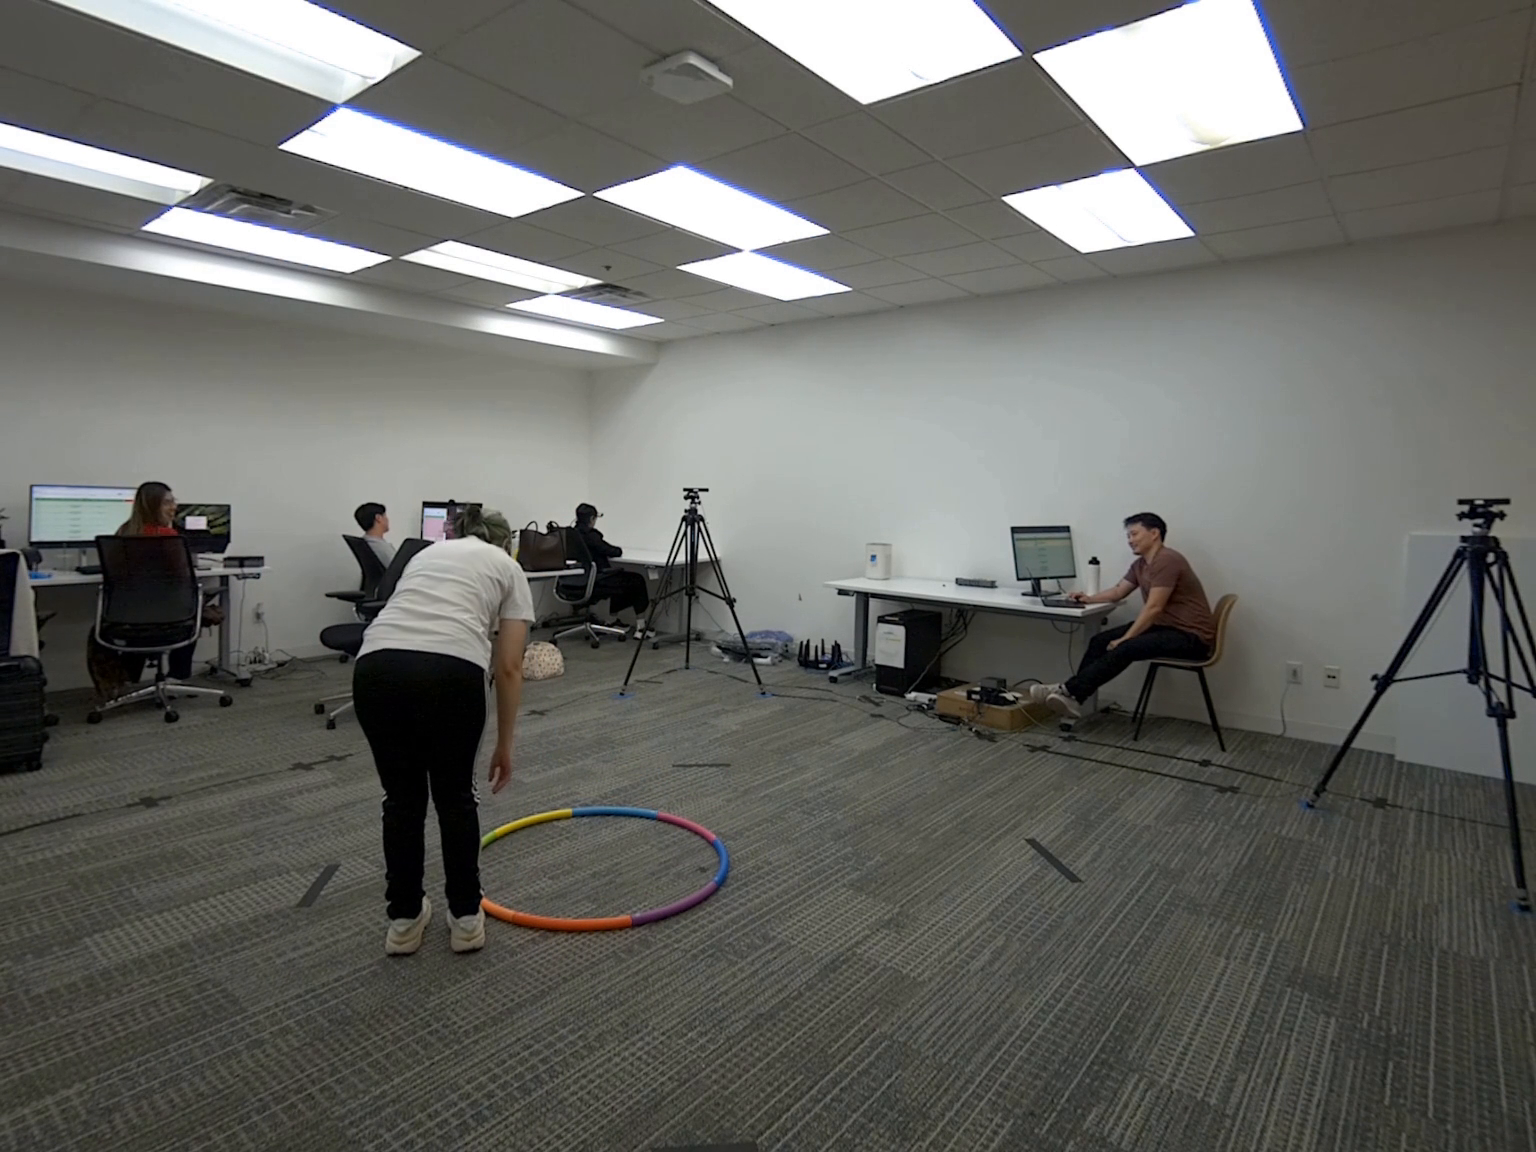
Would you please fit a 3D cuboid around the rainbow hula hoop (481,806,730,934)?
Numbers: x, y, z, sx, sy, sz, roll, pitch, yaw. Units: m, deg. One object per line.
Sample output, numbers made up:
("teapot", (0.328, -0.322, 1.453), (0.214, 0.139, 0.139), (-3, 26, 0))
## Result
("rainbow hula hoop", (-0.637, 1.030, 3.135), (0.978, 0.035, 0.984), (1, 5, -2))
